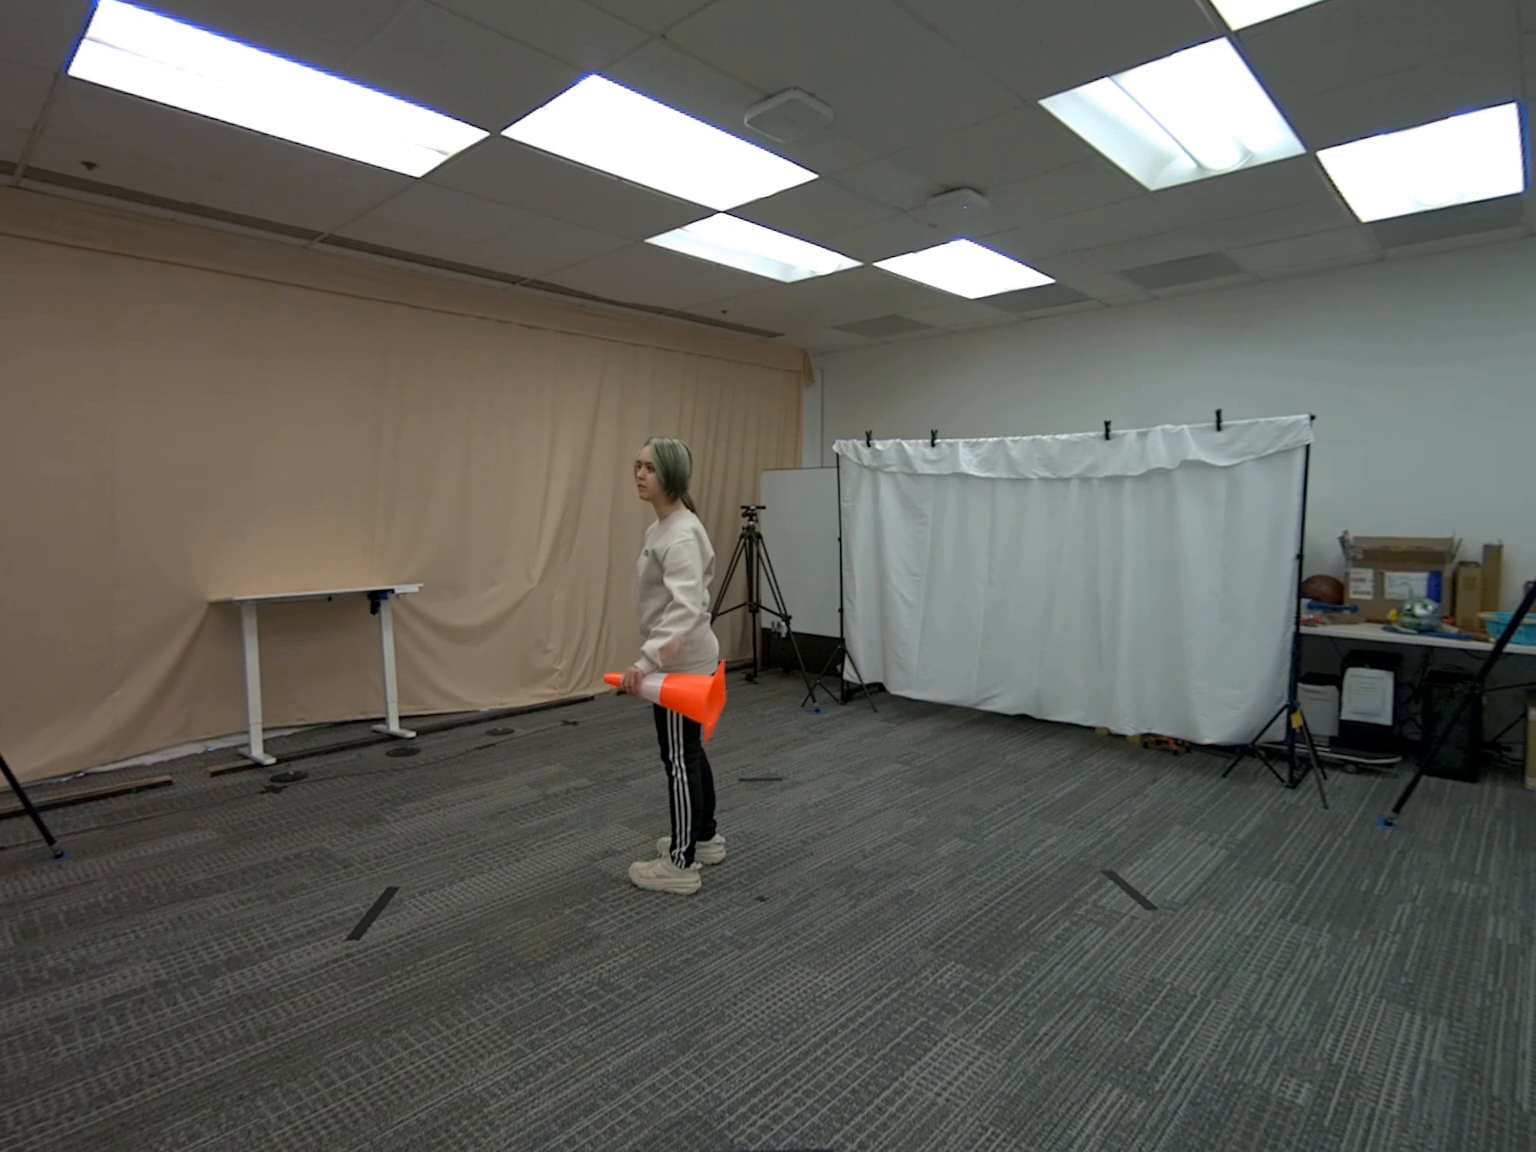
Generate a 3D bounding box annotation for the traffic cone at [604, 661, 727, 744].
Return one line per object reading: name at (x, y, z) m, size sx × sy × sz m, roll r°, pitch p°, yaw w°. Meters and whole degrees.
traffic cone at (-0.350, 0.359, 2.716) m, size 0.390 × 0.201 × 0.204 m, roll 11°, pitch 43°, yaw 14°
